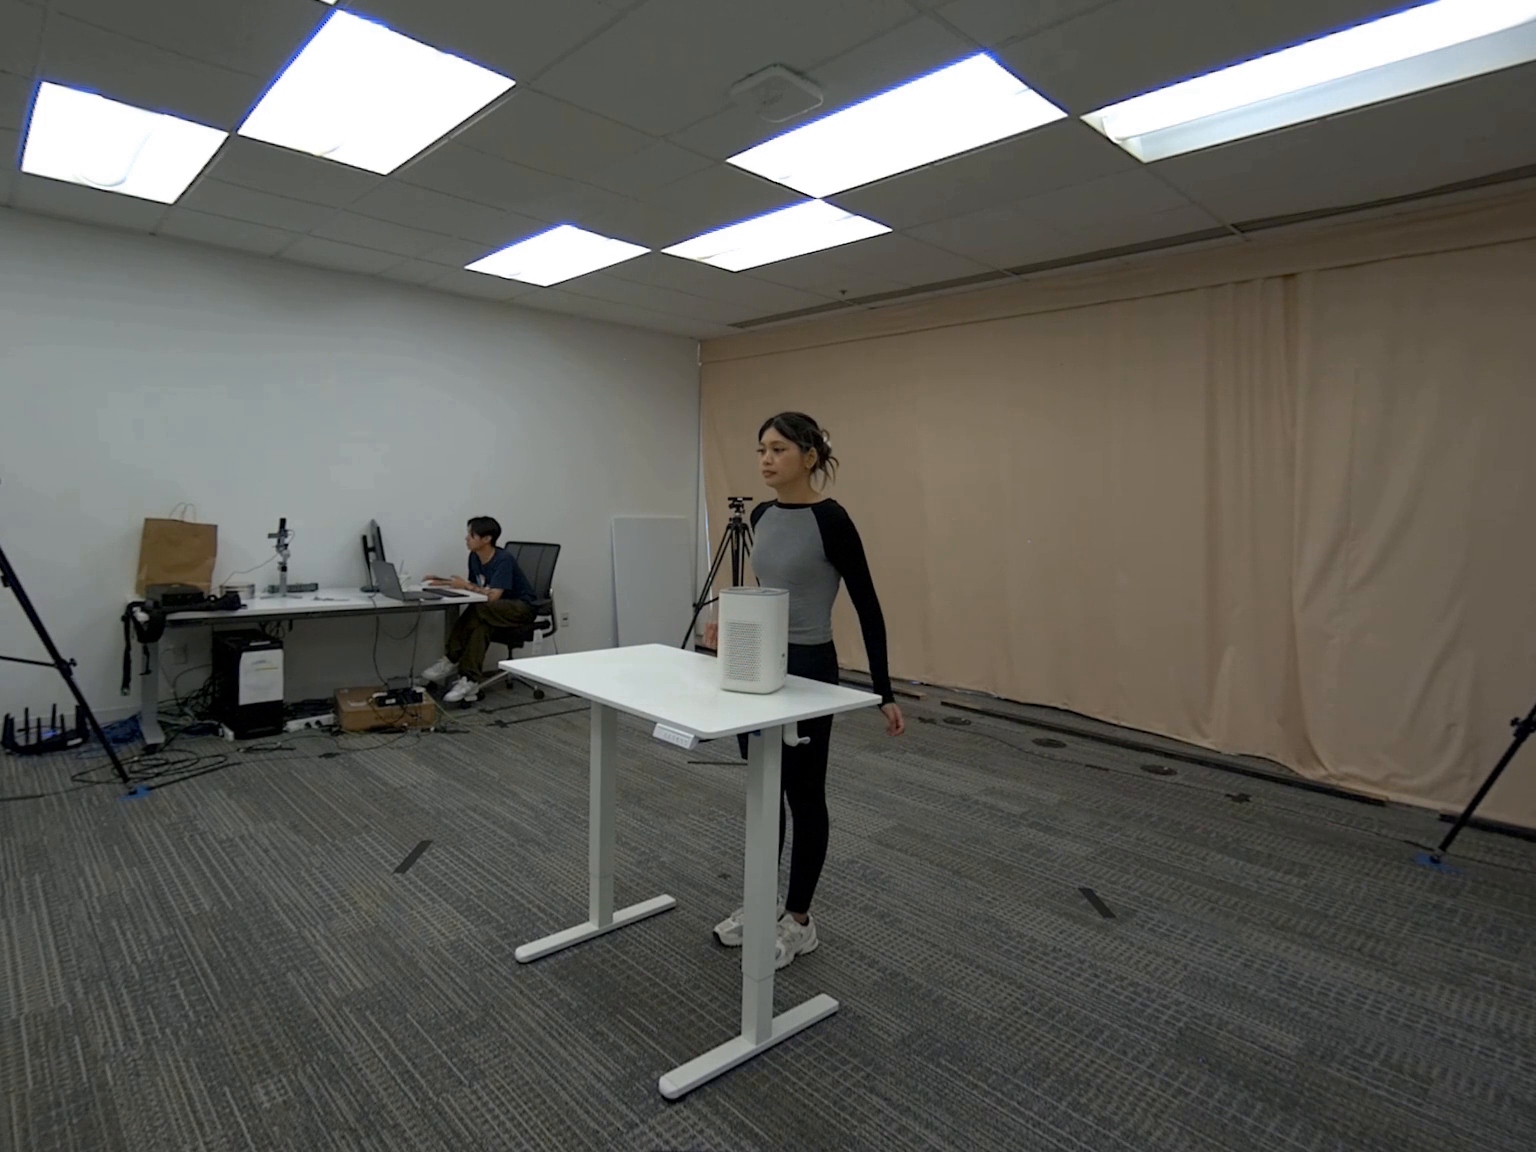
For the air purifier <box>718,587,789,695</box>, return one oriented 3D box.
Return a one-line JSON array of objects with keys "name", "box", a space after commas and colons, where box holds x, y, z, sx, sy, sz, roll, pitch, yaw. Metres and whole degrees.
[{"name": "air purifier", "box": [-0.046, 0.171, 2.263, 0.174, 0.265, 0.169, 2, 4, 18]}]
